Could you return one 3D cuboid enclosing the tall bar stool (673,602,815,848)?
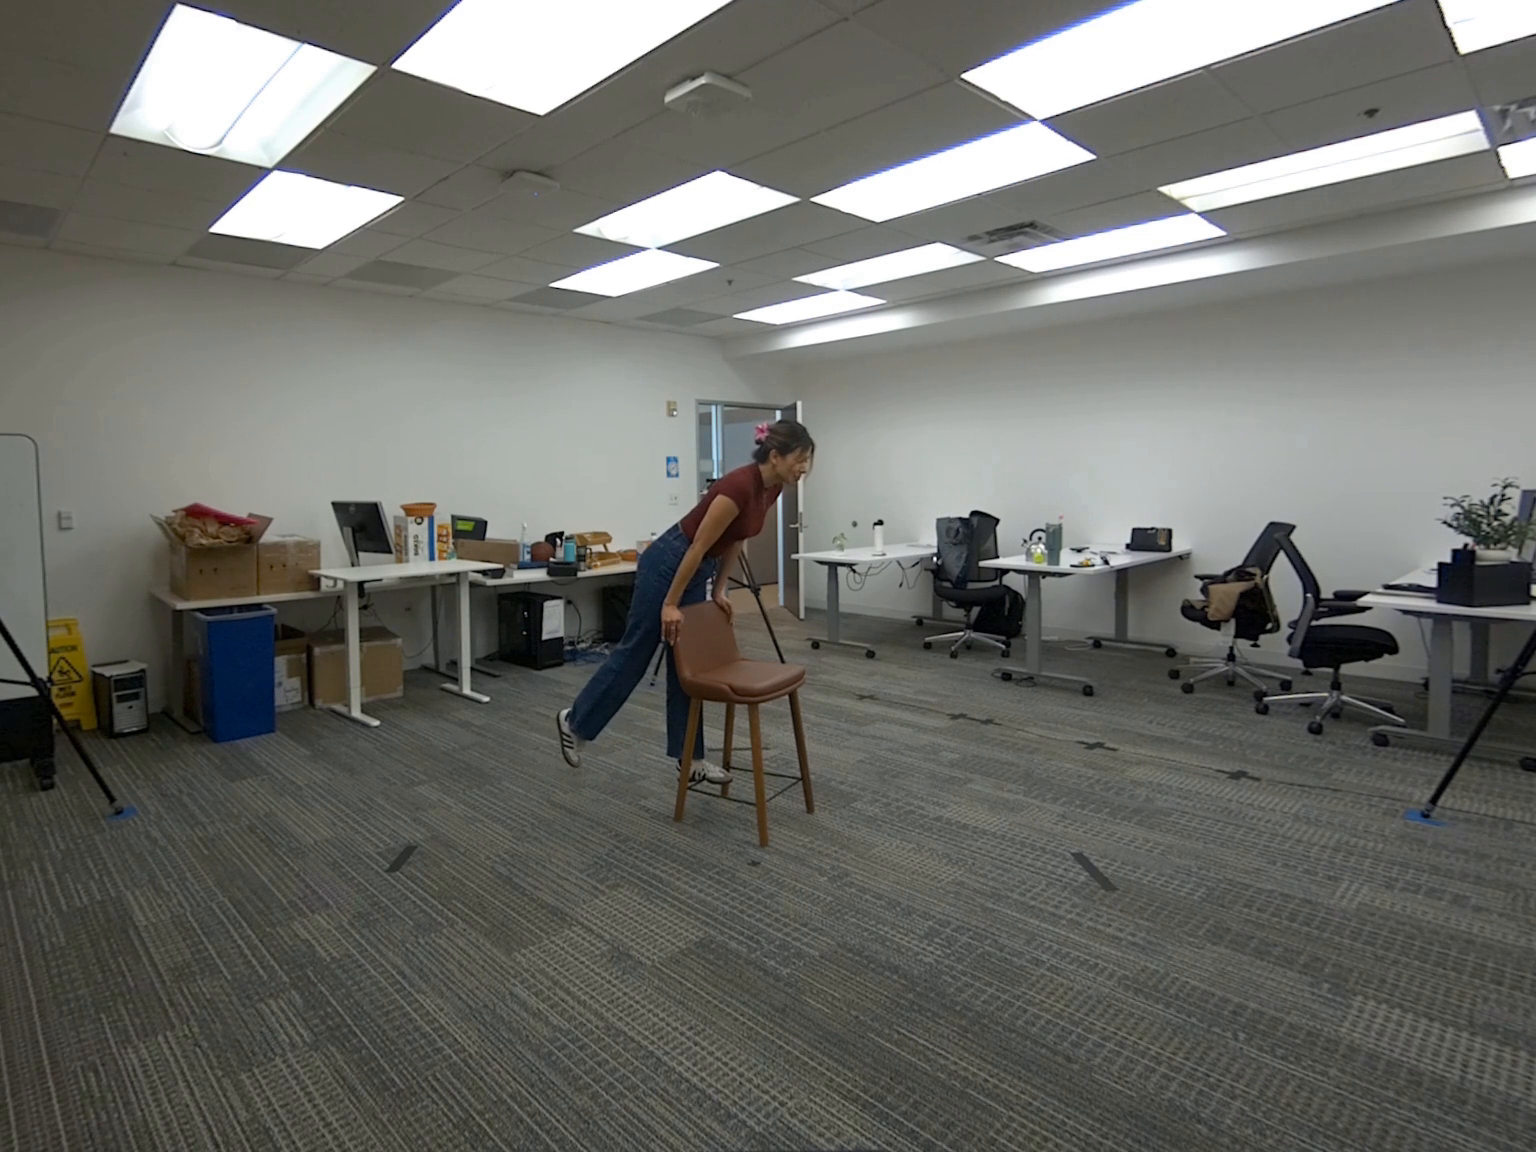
[{"bbox_3d":[-0.116,0.563,3.512,0.480,0.888,0.445,-1,3,33],"label":"tall bar stool"}]
